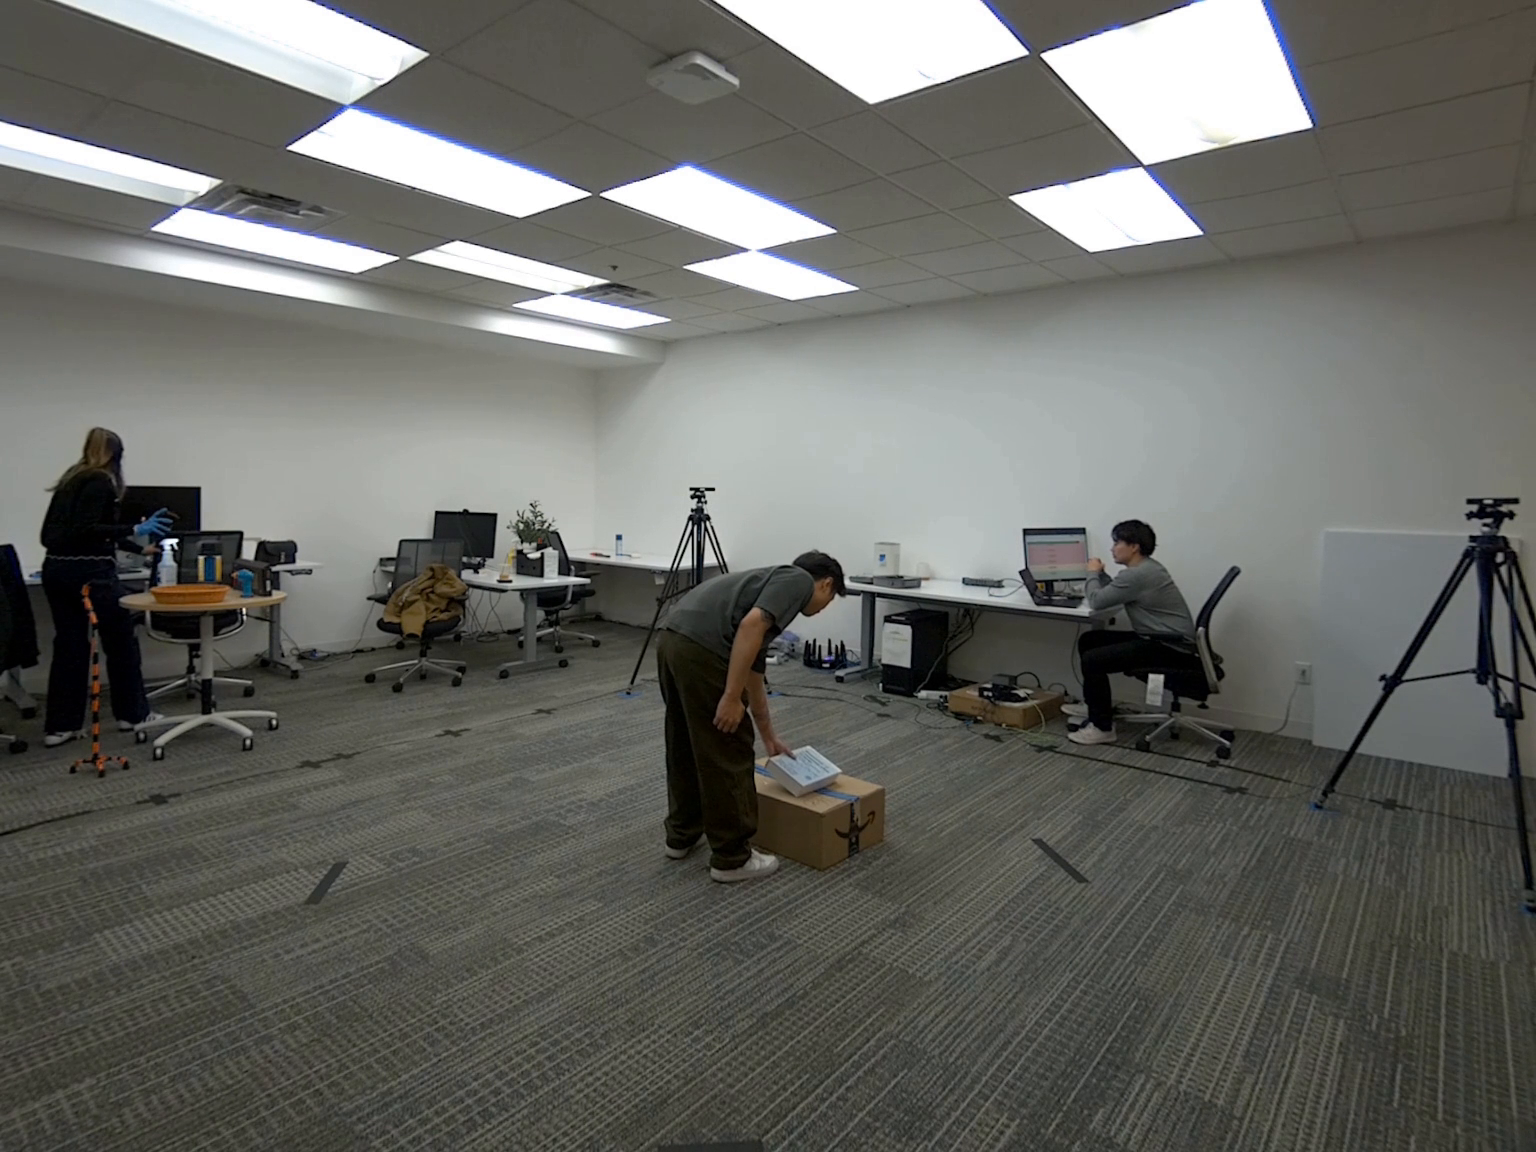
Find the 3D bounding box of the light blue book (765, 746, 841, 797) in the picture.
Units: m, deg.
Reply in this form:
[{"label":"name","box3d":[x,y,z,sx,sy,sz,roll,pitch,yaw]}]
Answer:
[{"label":"light blue book","box3d":[0.137,0.777,3.405,0.199,0.058,0.253,32,23,36]}]
